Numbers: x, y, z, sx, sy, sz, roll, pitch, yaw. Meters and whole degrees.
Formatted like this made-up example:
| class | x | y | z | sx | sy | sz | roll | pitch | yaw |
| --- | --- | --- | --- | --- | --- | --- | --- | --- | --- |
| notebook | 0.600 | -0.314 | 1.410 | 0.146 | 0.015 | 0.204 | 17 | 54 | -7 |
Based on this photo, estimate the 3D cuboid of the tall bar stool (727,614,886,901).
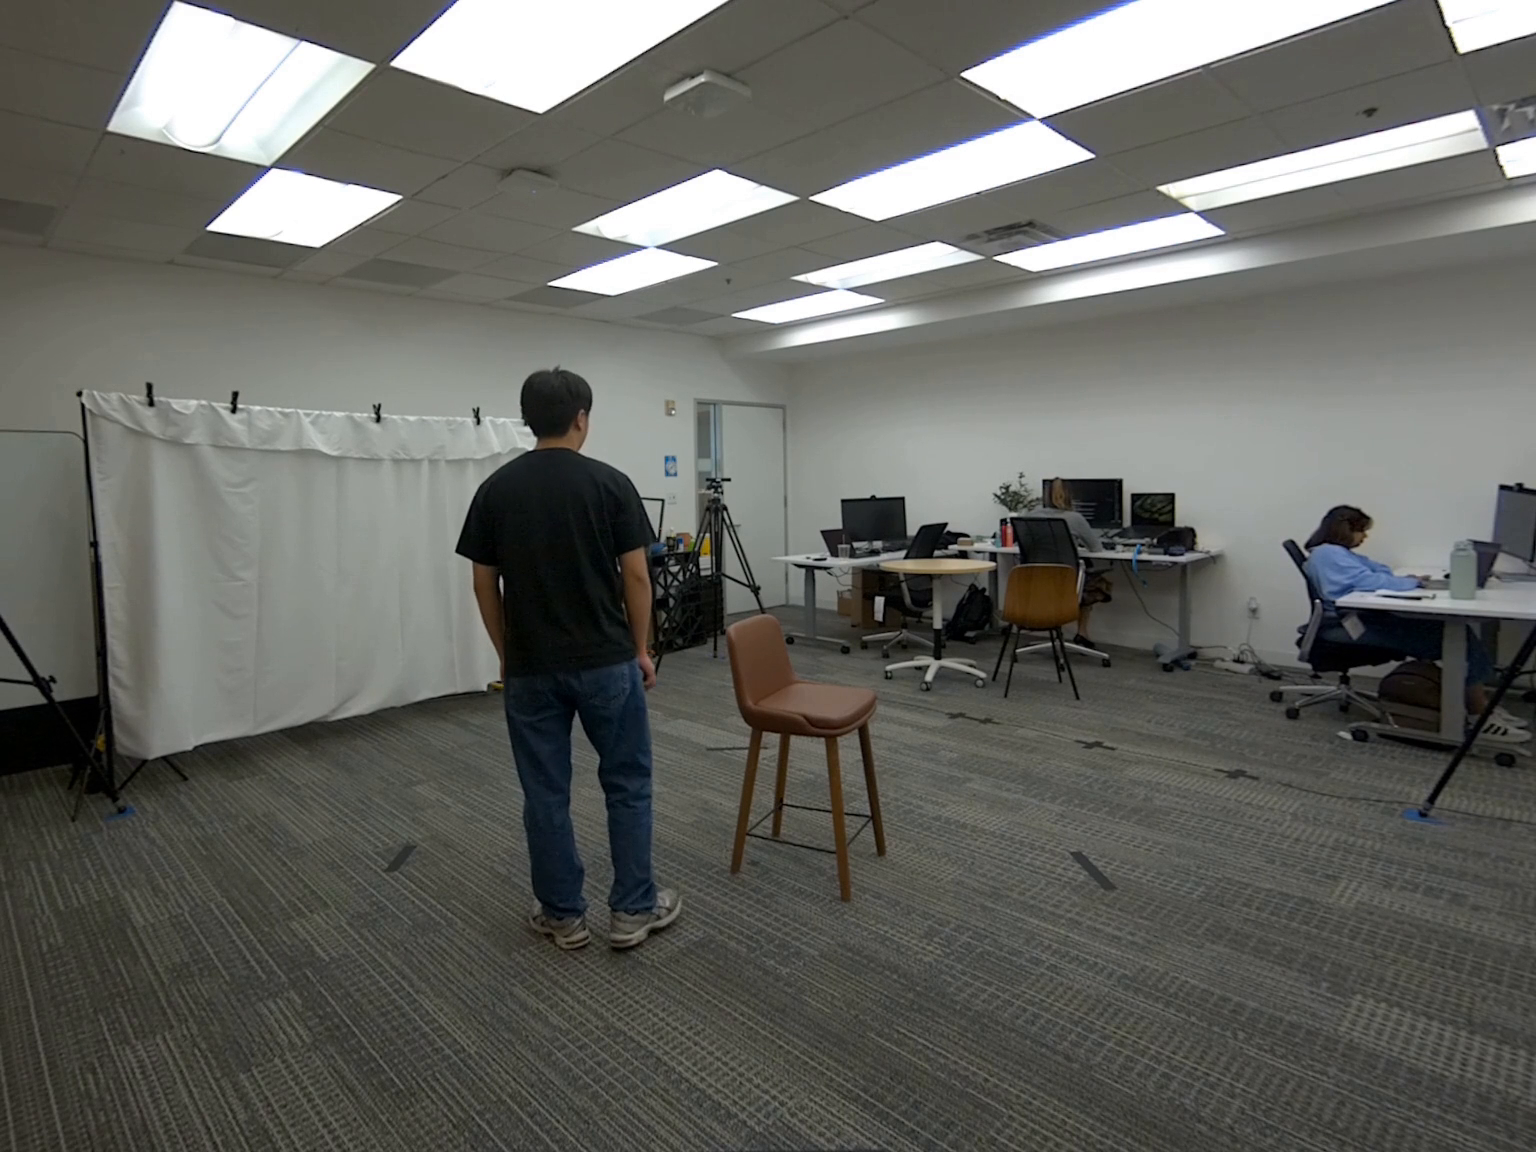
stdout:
| class | x | y | z | sx | sy | sz | roll | pitch | yaw |
| --- | --- | --- | --- | --- | --- | --- | --- | --- | --- |
| tall bar stool | 0.142 | 0.607 | 3.069 | 0.479 | 0.888 | 0.446 | -1 | 3 | 28 |
